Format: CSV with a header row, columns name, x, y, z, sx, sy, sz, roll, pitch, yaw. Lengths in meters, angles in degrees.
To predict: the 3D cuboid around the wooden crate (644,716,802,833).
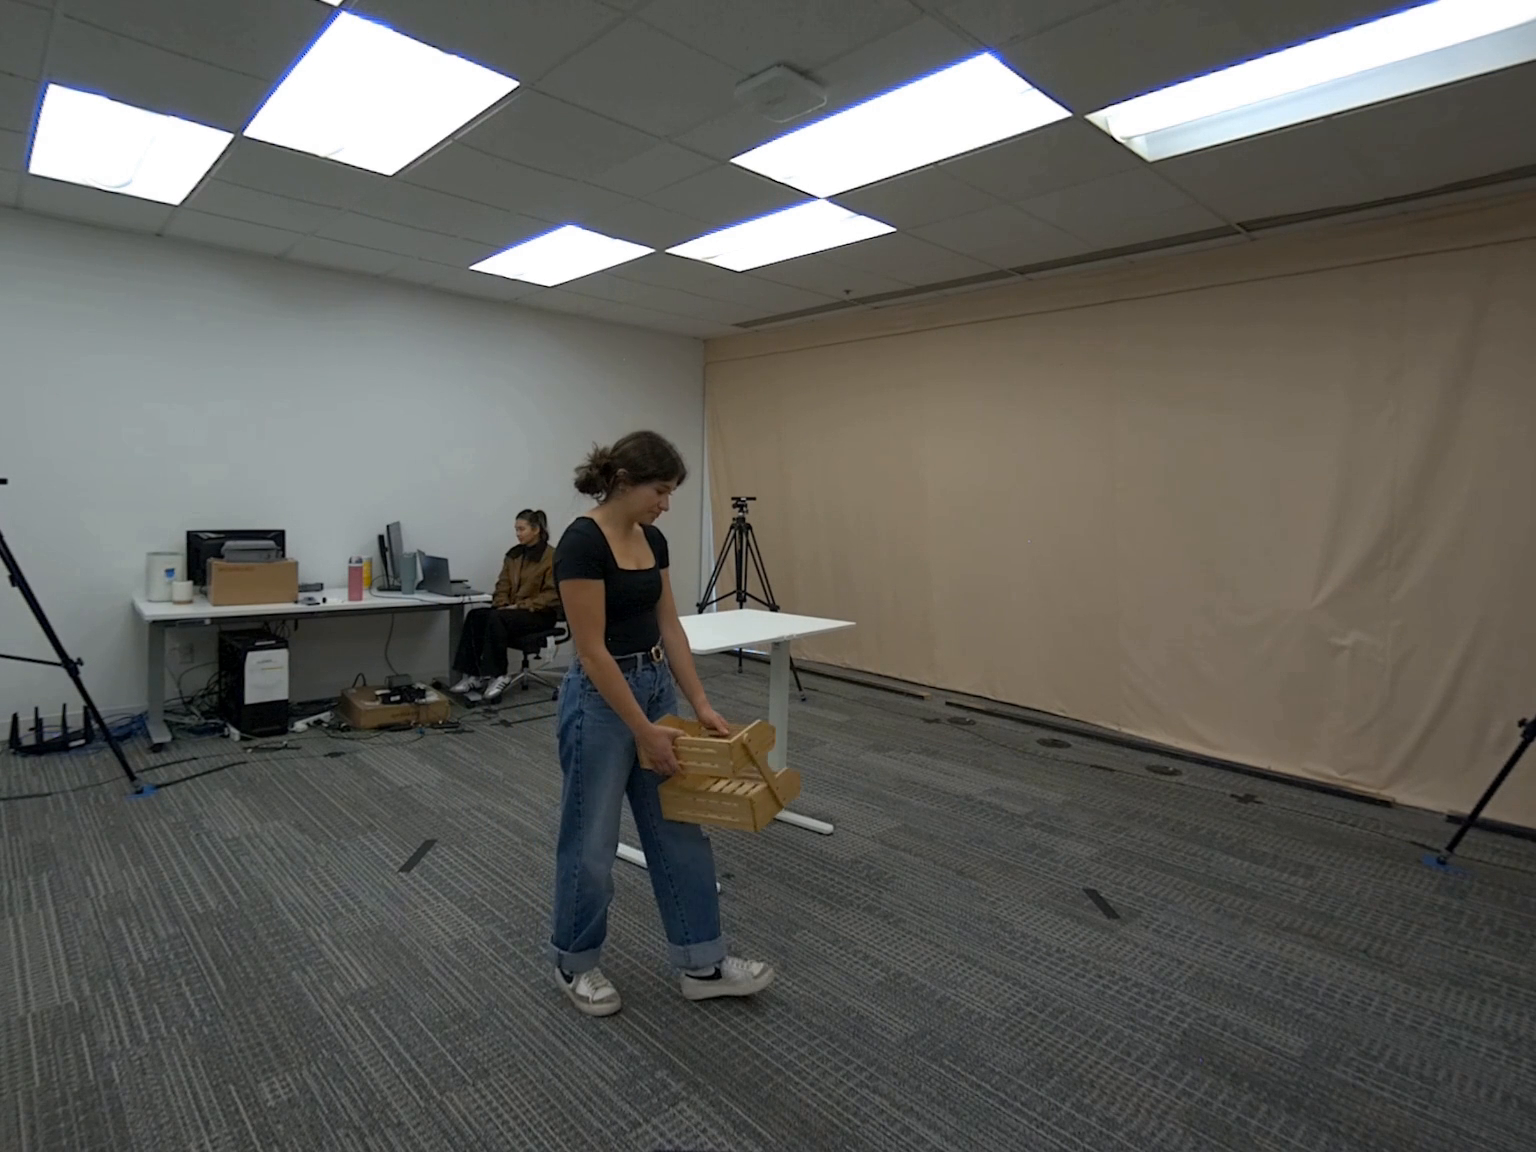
name,x,y,z,sx,sy,sz,roll,pitch,yaw
wooden crate,-0.129,0.495,2.239,0.331,0.271,0.298,-4,11,33
